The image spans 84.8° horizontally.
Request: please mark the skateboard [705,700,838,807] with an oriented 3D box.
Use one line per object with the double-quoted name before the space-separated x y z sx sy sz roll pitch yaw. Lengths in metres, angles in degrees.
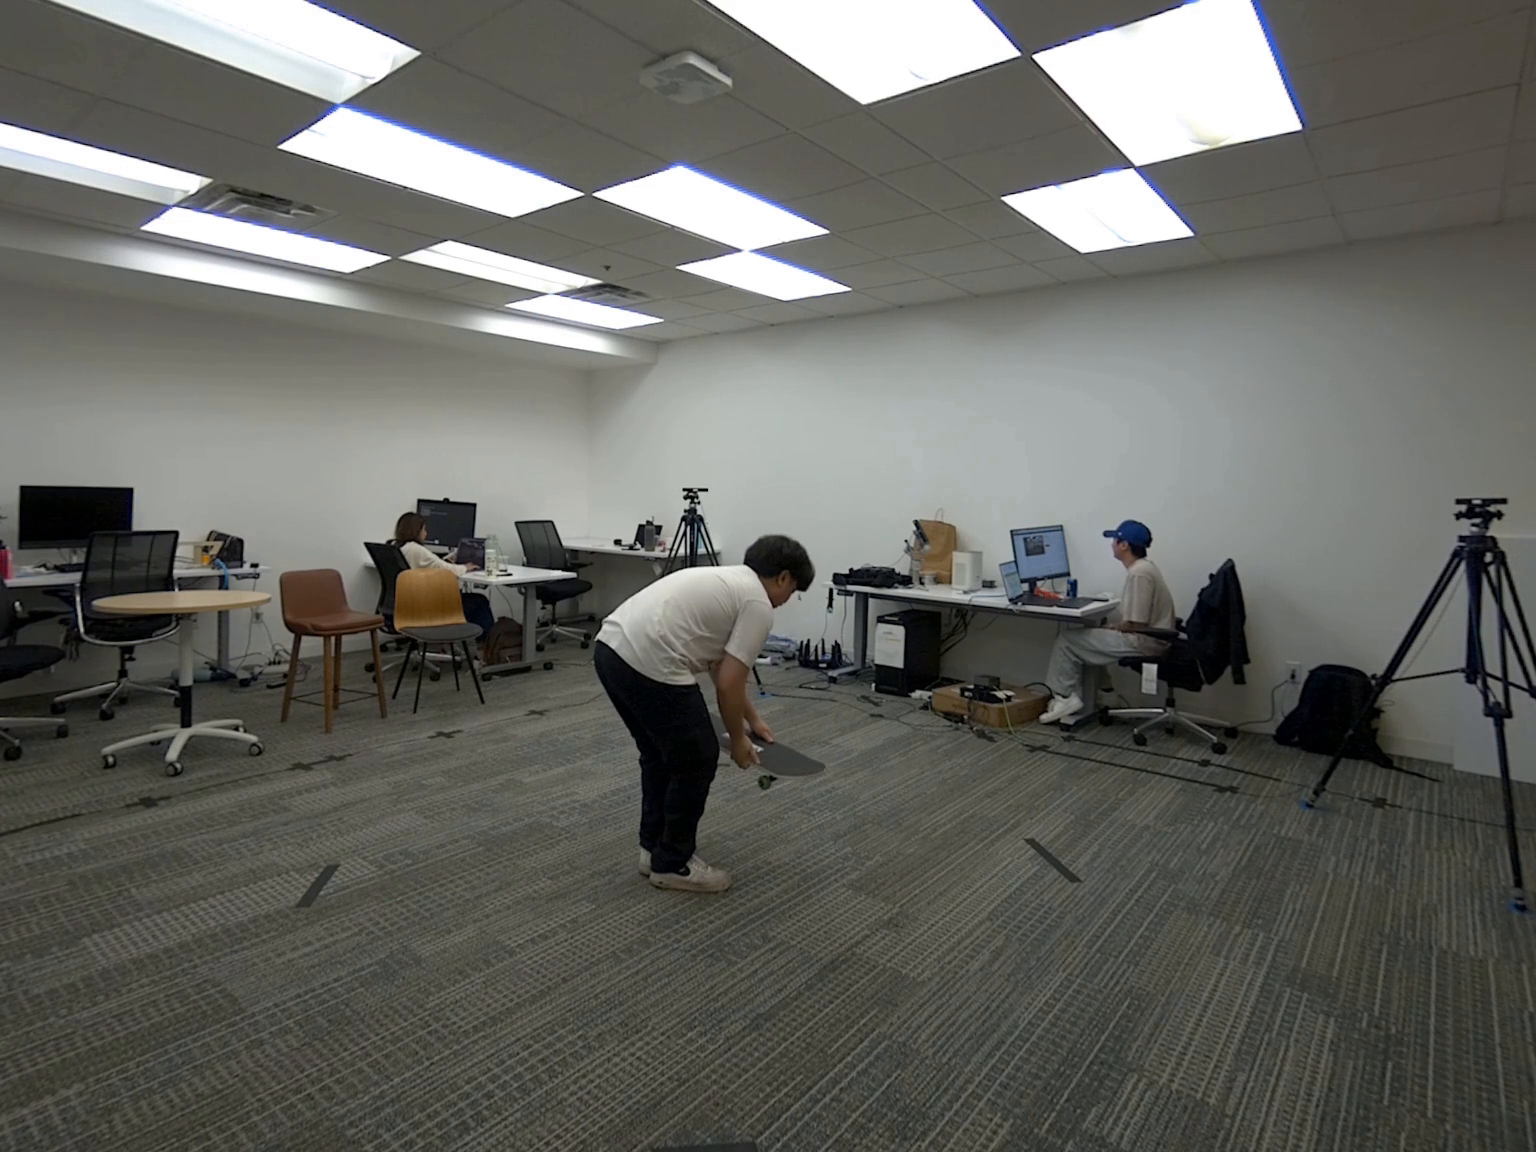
"skateboard" -0.095 0.652 3.226 0.188 0.109 0.815 -11 17 -40
